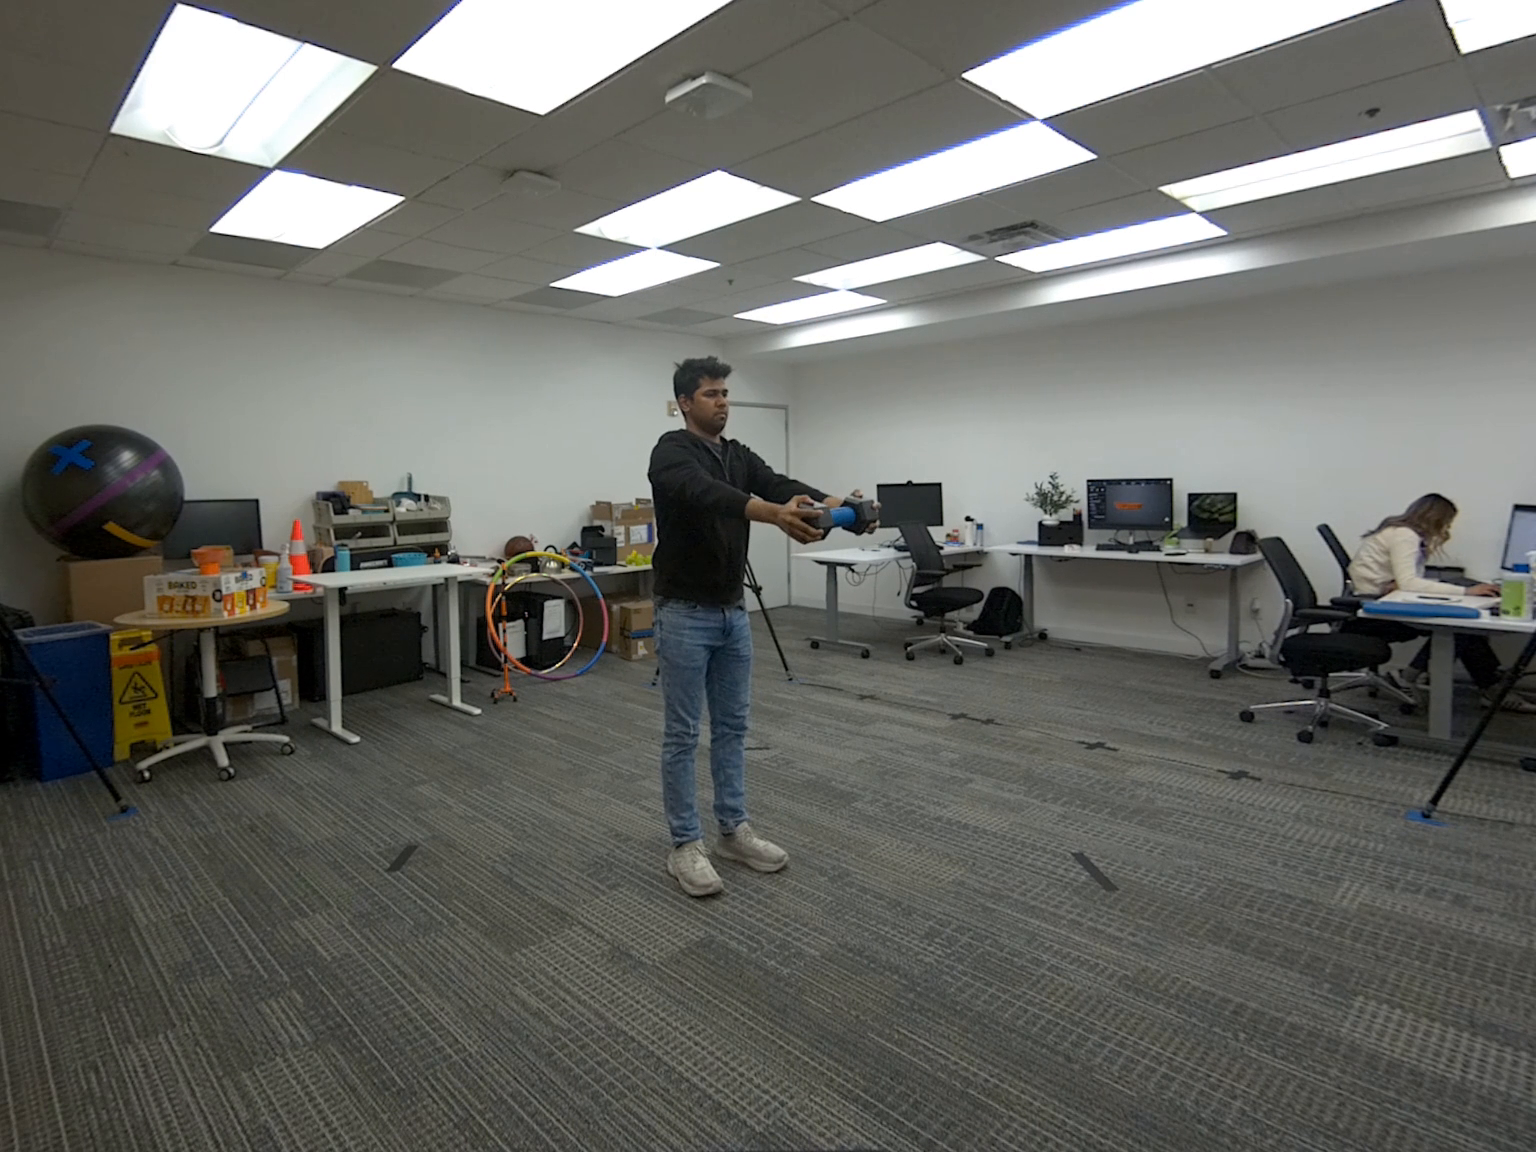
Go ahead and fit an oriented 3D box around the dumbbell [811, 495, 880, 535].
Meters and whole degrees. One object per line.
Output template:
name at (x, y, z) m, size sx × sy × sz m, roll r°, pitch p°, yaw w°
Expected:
dumbbell at (0.199, -0.176, 2.624) m, size 0.286 × 0.112 × 0.122 m, roll -9°, pitch -34°, yaw -43°
